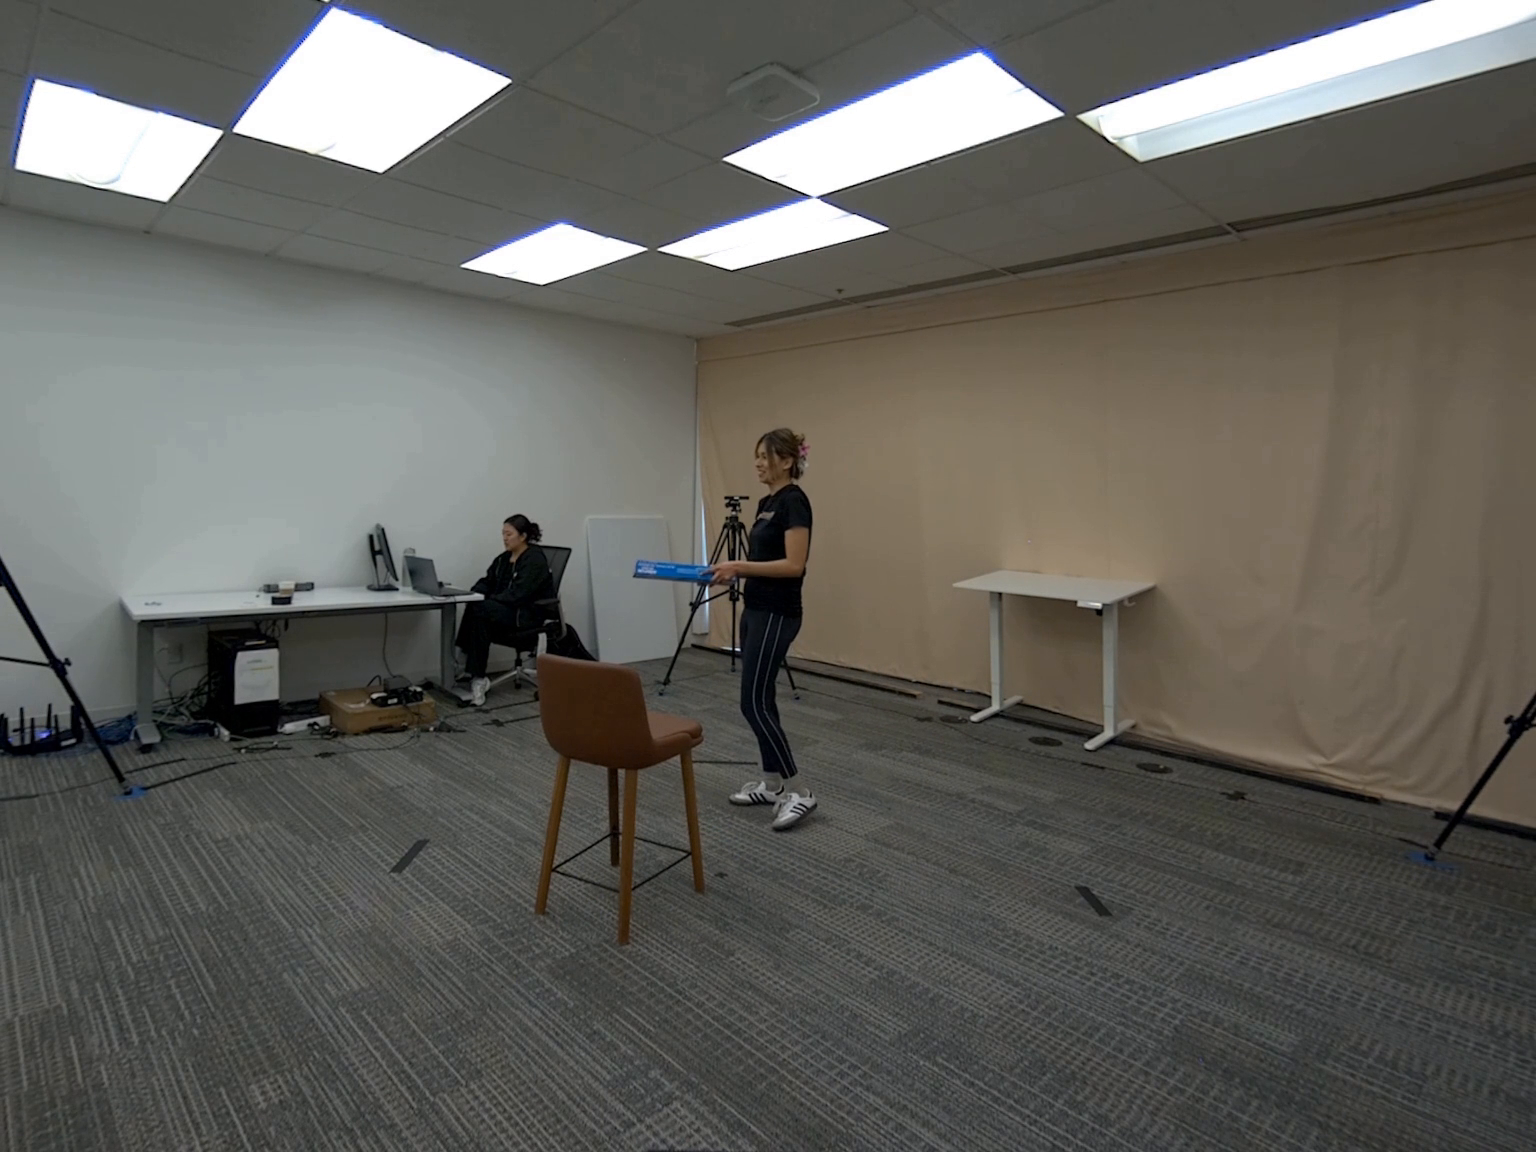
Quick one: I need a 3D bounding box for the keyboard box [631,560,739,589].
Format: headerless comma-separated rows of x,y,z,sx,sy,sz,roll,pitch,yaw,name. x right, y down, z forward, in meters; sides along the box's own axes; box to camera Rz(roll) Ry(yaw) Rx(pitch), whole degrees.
-0.362,-0.008,3.656,0.432,0.059,0.177,6,-8,-12,keyboard box
